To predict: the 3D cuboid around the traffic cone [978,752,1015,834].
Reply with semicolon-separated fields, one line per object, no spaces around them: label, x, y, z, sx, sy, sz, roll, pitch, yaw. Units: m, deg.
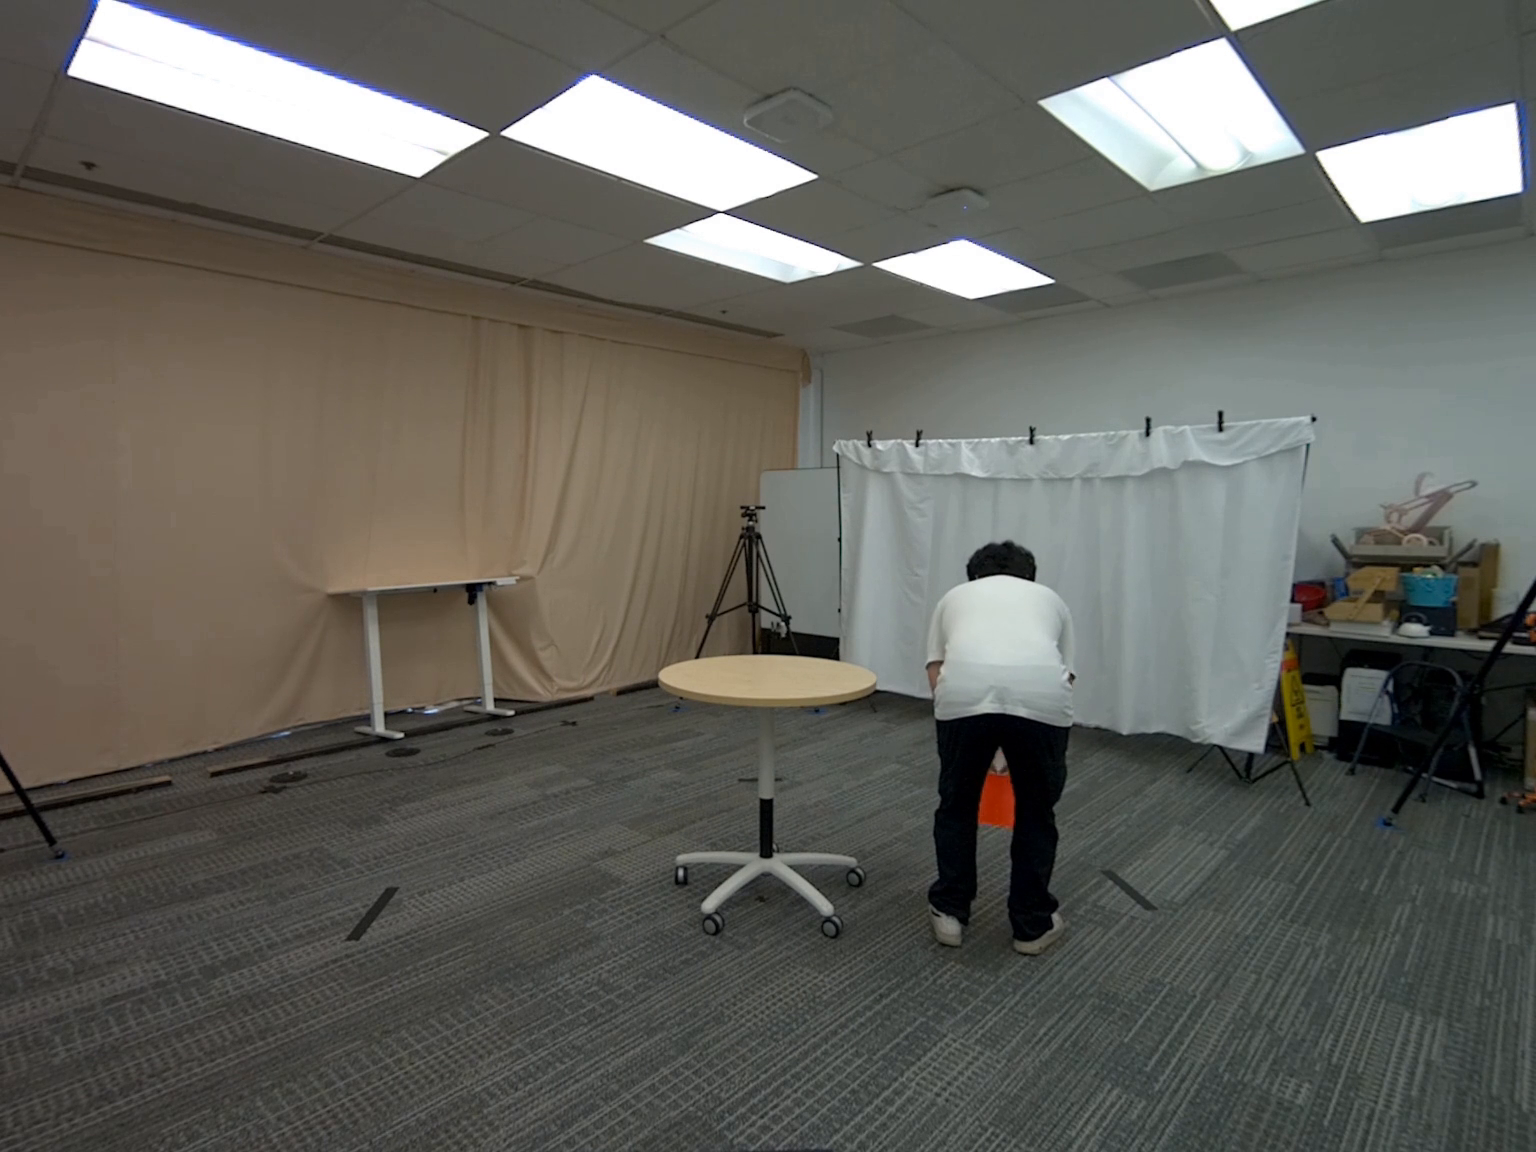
traffic cone;0.846;0.693;2.996;0.208;0.385;0.200;6;-8;19
